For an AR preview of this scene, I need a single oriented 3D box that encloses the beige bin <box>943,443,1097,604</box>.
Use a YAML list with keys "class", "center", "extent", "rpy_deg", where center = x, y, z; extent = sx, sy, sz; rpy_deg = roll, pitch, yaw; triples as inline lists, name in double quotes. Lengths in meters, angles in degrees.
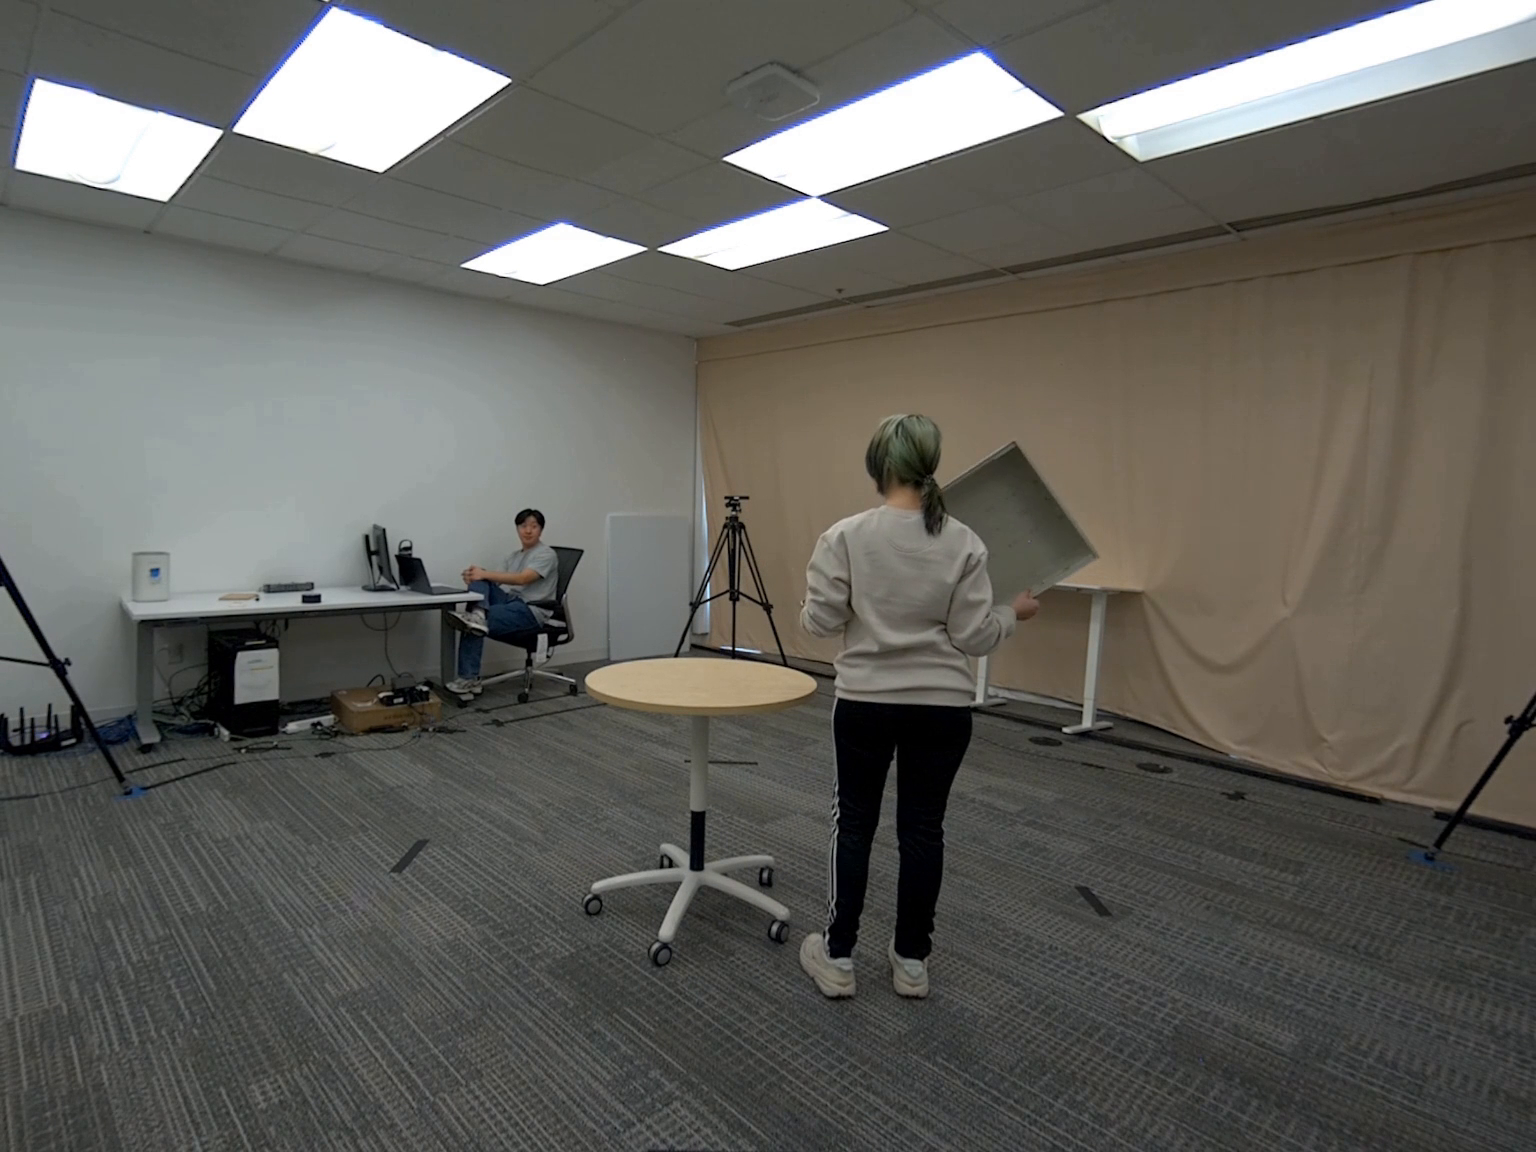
- class: "beige bin"
  center: [0.700, -0.135, 2.586]
  extent: [0.379, 0.424, 0.188]
  rpy_deg: [-35, -3, 18]
